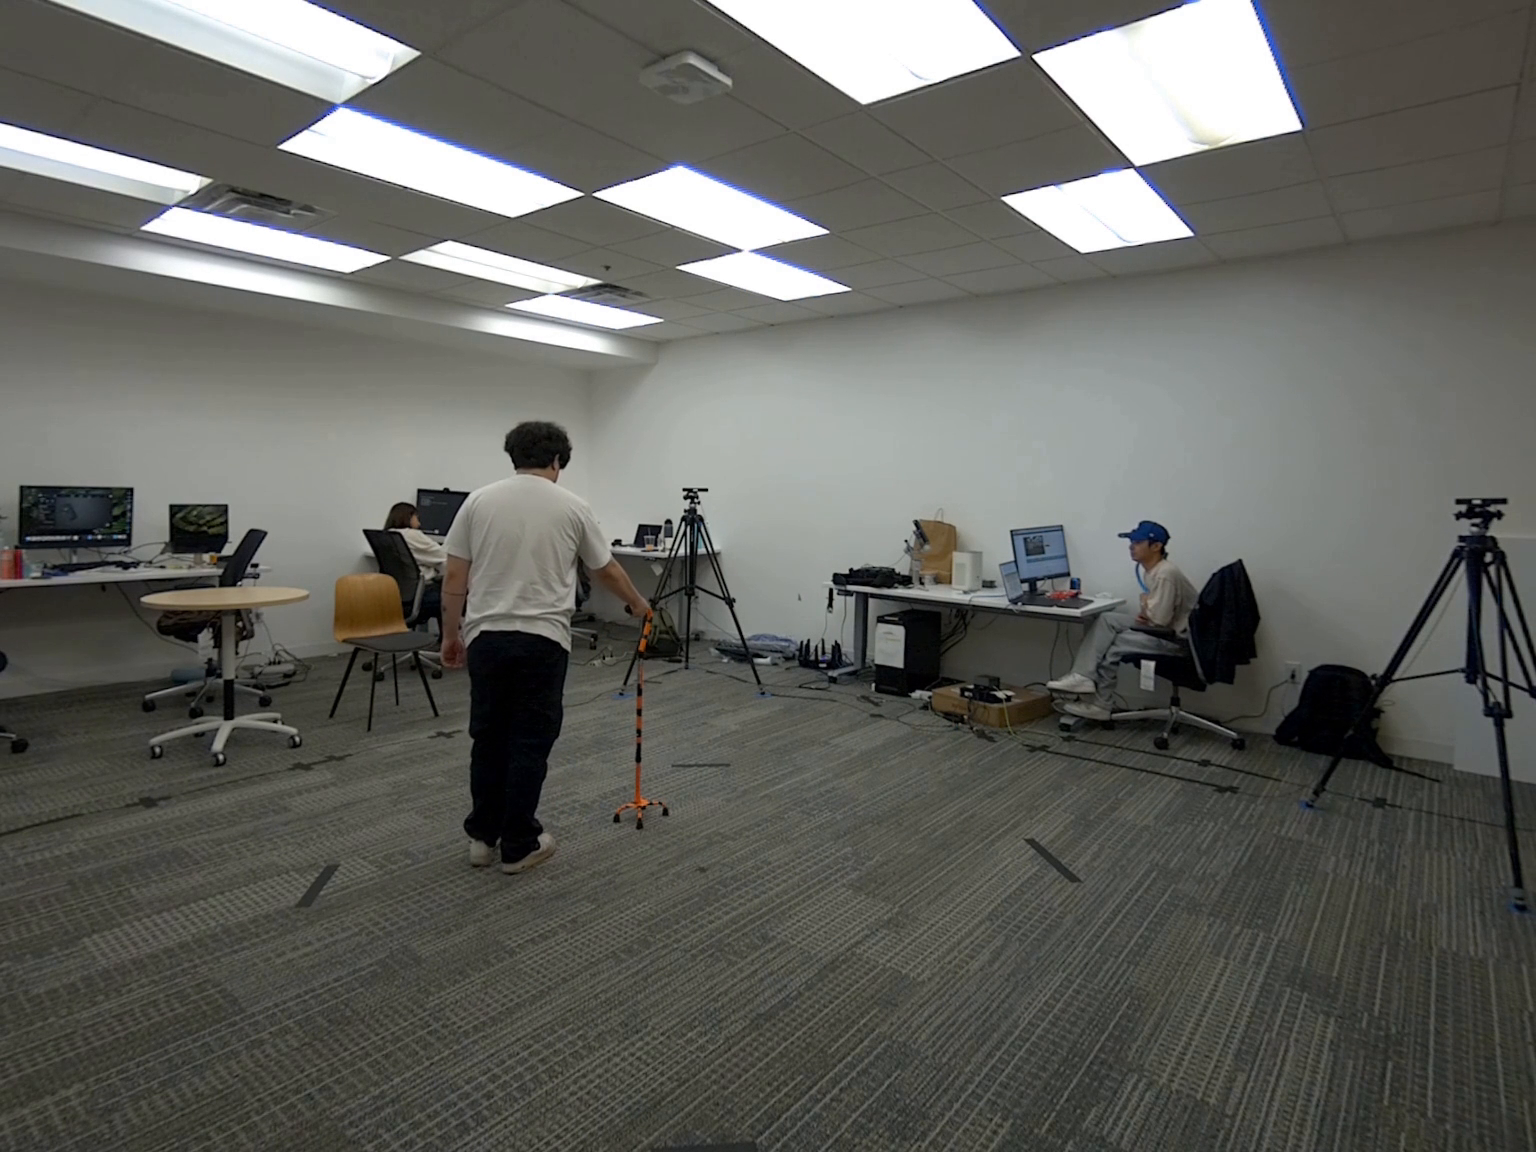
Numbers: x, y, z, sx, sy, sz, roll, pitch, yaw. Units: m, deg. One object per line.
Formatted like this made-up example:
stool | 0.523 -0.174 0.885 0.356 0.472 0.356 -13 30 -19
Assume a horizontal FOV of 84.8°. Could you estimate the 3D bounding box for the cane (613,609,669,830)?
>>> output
cane | -0.538 0.572 3.567 0.156 0.906 0.201 2 3 32
